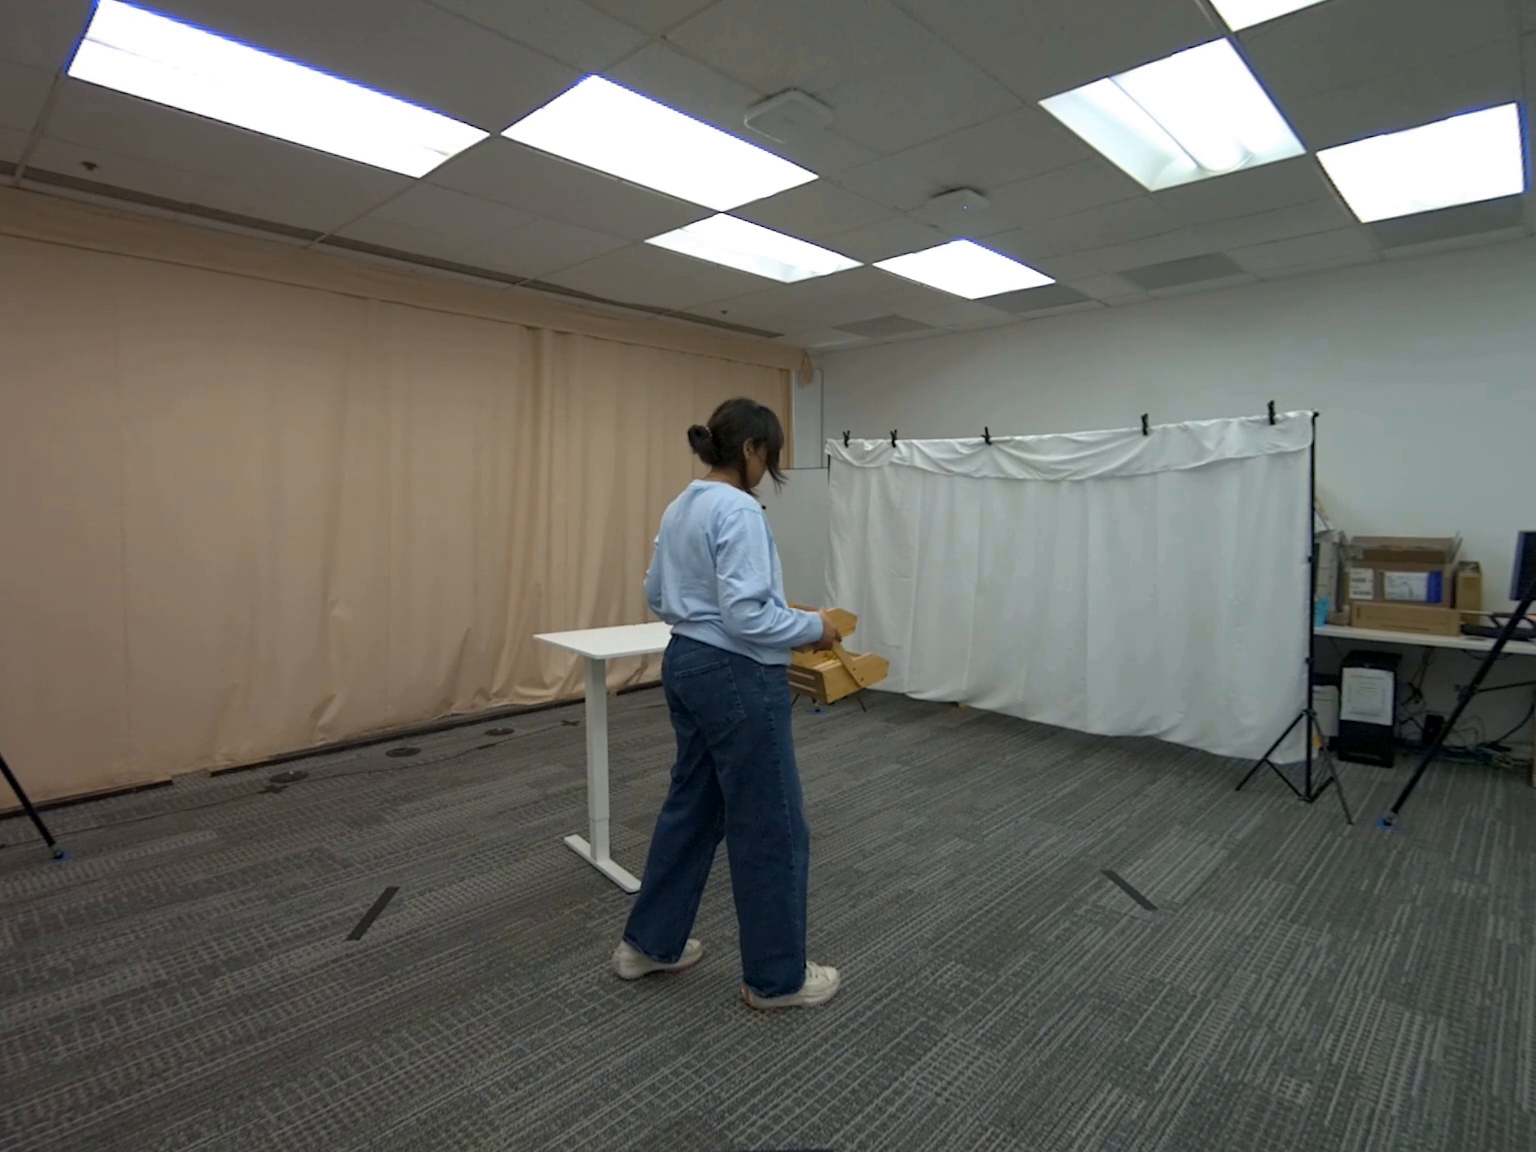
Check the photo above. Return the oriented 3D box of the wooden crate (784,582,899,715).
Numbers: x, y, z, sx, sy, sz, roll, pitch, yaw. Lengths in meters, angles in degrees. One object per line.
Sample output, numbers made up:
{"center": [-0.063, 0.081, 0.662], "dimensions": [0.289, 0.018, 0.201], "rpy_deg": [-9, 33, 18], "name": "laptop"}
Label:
{"center": [0.143, 0.202, 2.552], "dimensions": [0.295, 0.271, 0.334], "rpy_deg": [-19, 13, -31], "name": "wooden crate"}
